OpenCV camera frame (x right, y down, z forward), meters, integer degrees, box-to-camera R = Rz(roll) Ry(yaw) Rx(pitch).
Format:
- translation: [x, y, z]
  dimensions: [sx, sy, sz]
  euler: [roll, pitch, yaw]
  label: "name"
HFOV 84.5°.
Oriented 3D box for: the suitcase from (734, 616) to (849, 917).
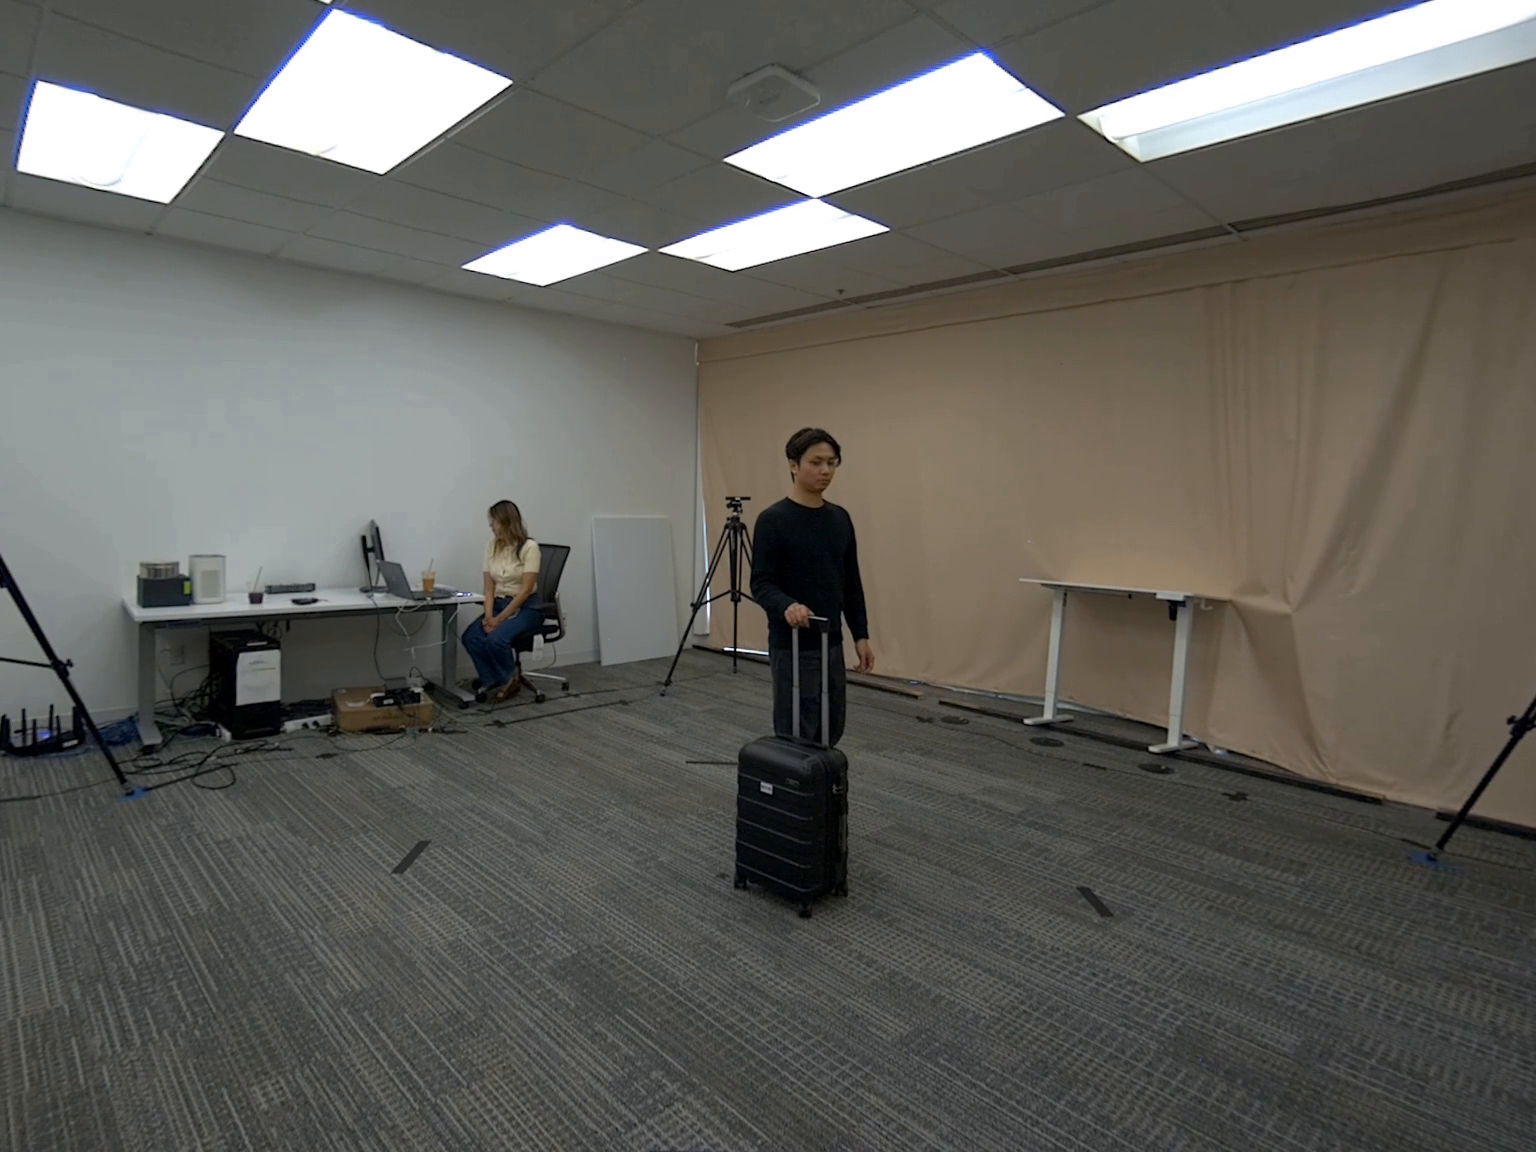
- translation: [0.073, 0.654, 2.928]
  dimensions: [0.394, 0.974, 0.251]
  euler: [6, 9, 44]
  label: "suitcase"
